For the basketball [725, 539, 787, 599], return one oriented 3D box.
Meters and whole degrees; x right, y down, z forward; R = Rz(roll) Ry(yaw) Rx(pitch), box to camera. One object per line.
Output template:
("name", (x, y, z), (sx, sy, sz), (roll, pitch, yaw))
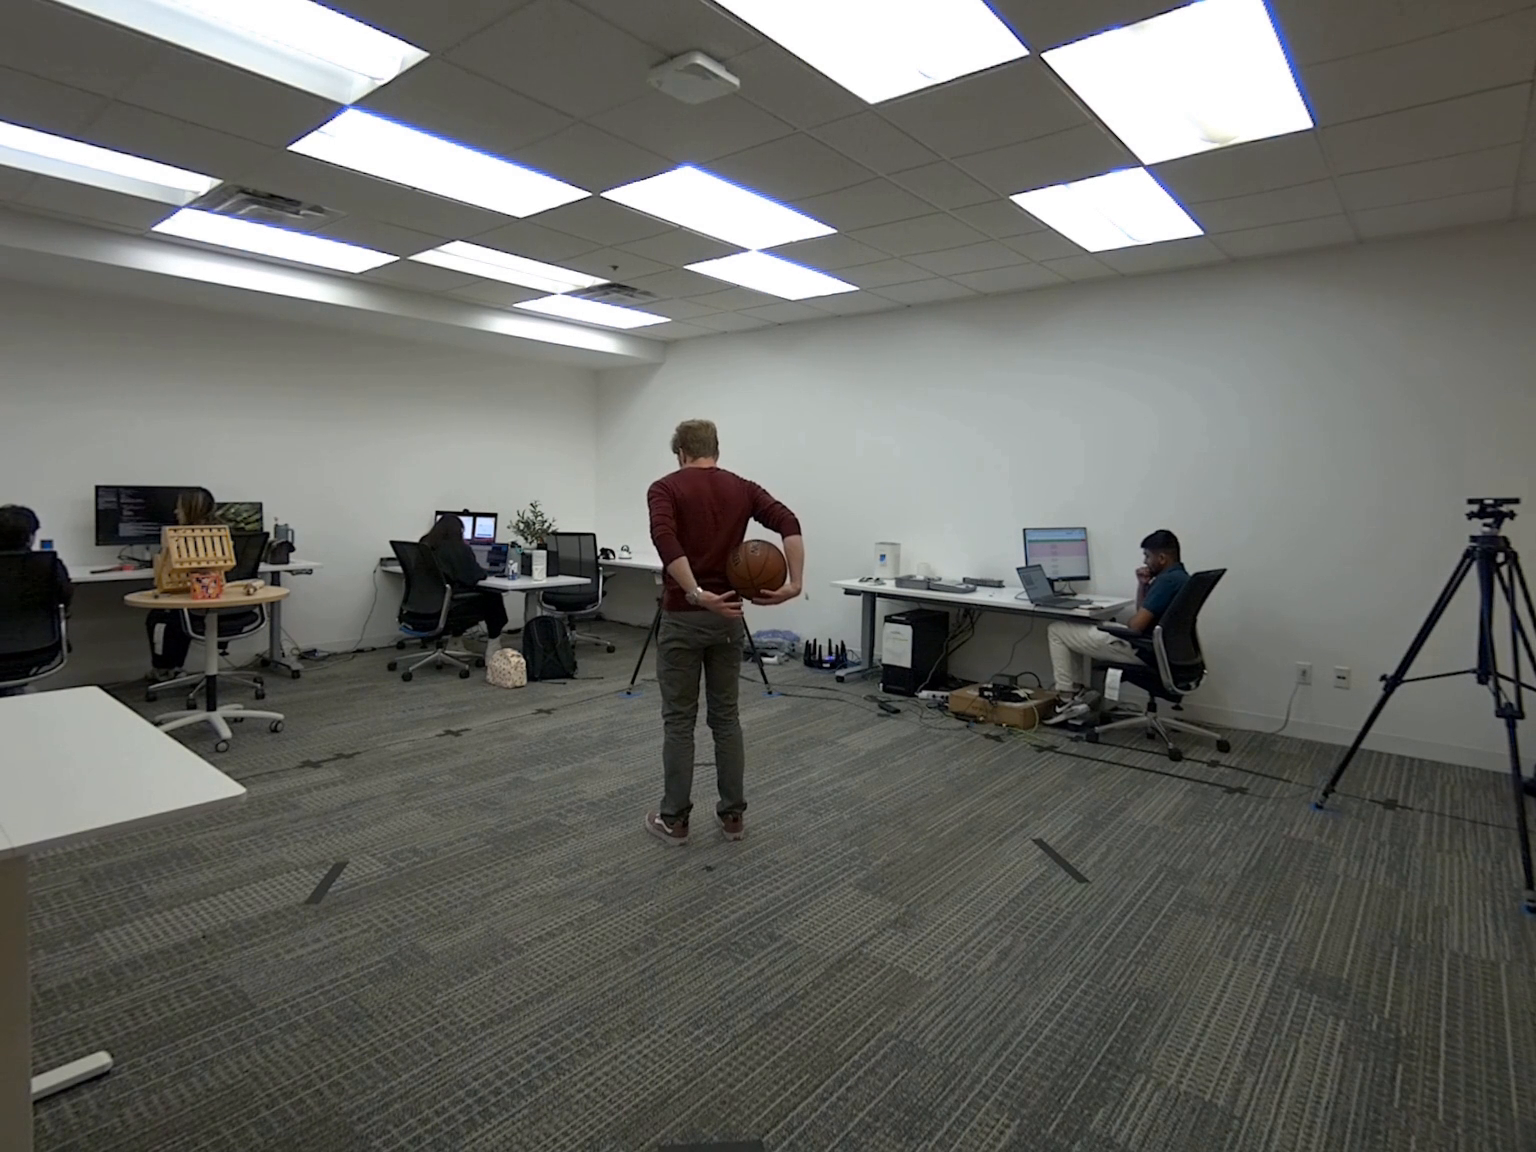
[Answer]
("basketball", (-0.062, -0.028, 3.279), (0.235, 0.235, 0.237), (1, 4, -2))
